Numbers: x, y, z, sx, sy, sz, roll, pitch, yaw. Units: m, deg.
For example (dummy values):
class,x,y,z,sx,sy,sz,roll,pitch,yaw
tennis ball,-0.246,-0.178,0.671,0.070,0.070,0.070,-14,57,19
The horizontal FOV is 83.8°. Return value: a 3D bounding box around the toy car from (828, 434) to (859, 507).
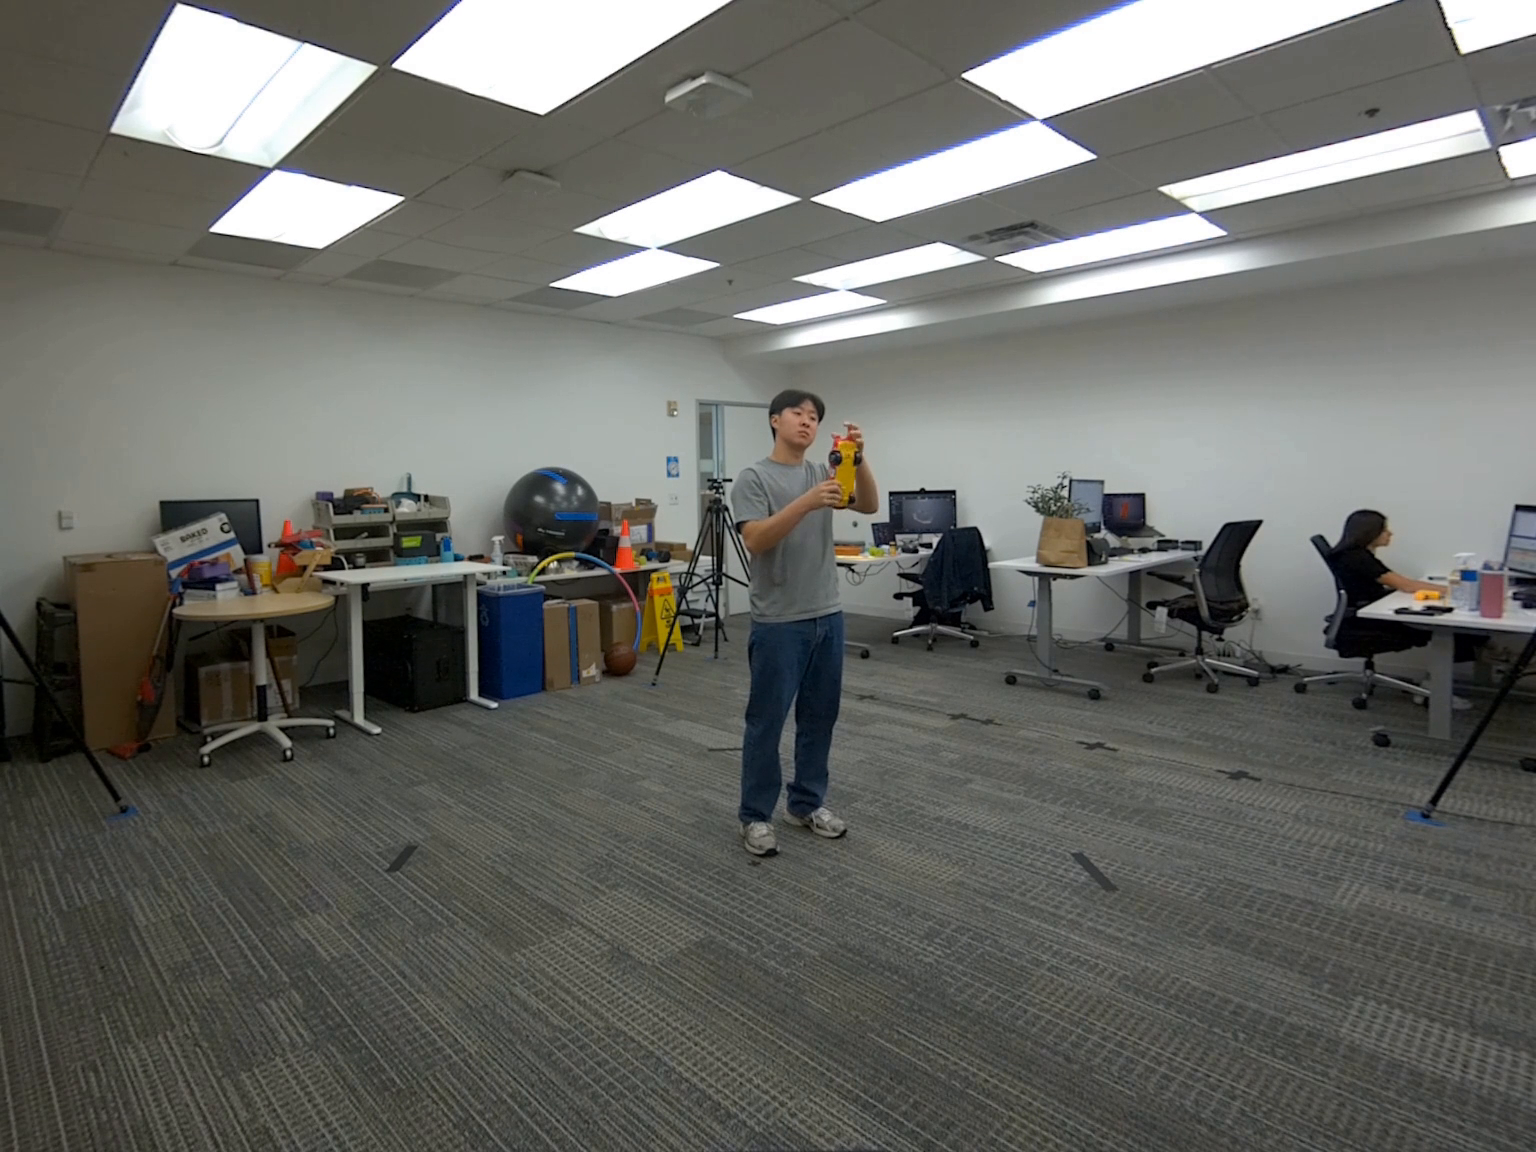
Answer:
class,x,y,z,sx,sy,sz,roll,pitch,yaw
toy car,0.259,-0.372,3.035,0.127,0.253,0.085,-4,5,-29
